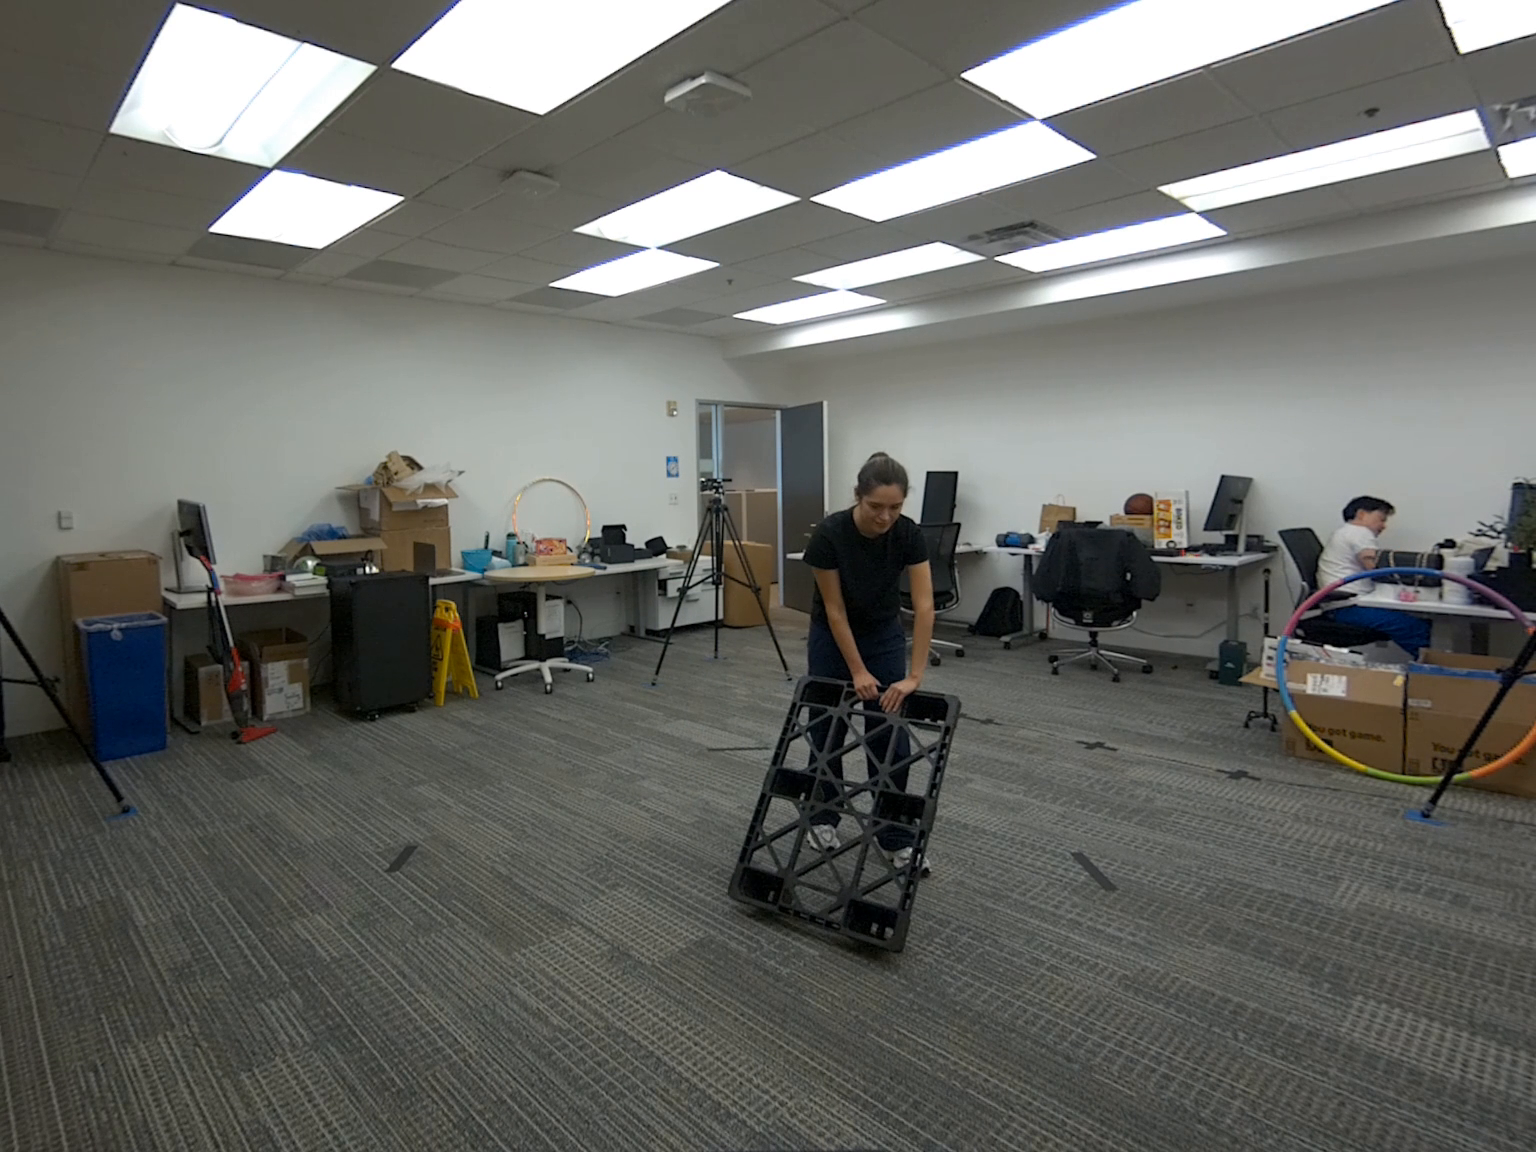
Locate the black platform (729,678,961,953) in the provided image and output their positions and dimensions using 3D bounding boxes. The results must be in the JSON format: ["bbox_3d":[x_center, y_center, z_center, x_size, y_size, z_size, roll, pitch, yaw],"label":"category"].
[{"bbox_3d":[0.268,0.743,2.818,0.622,0.815,0.138,1,-33,34],"label":"black platform"}]
